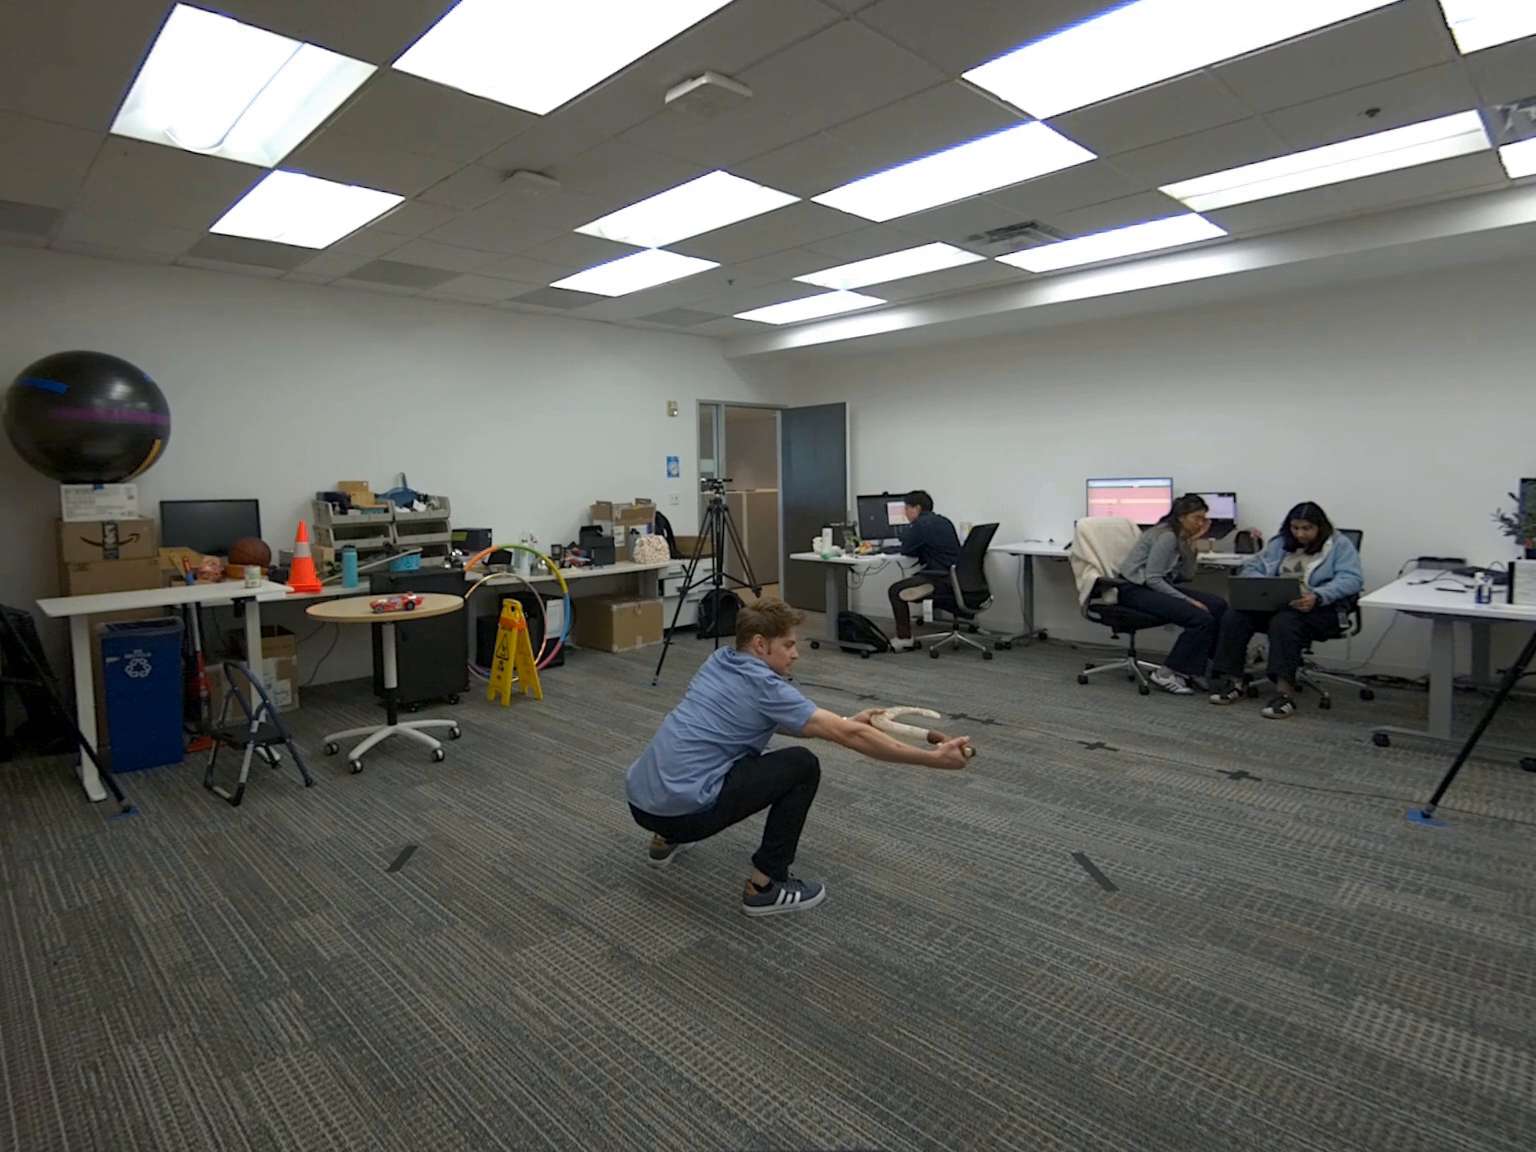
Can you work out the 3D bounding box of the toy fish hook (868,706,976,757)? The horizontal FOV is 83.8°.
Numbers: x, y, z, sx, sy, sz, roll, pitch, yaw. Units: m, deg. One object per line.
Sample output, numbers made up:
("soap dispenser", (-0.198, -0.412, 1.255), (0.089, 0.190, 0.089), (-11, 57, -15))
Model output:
("toy fish hook", (0.546, 0.507, 2.855), (0.221, 0.048, 0.520), (-16, 13, -28))
